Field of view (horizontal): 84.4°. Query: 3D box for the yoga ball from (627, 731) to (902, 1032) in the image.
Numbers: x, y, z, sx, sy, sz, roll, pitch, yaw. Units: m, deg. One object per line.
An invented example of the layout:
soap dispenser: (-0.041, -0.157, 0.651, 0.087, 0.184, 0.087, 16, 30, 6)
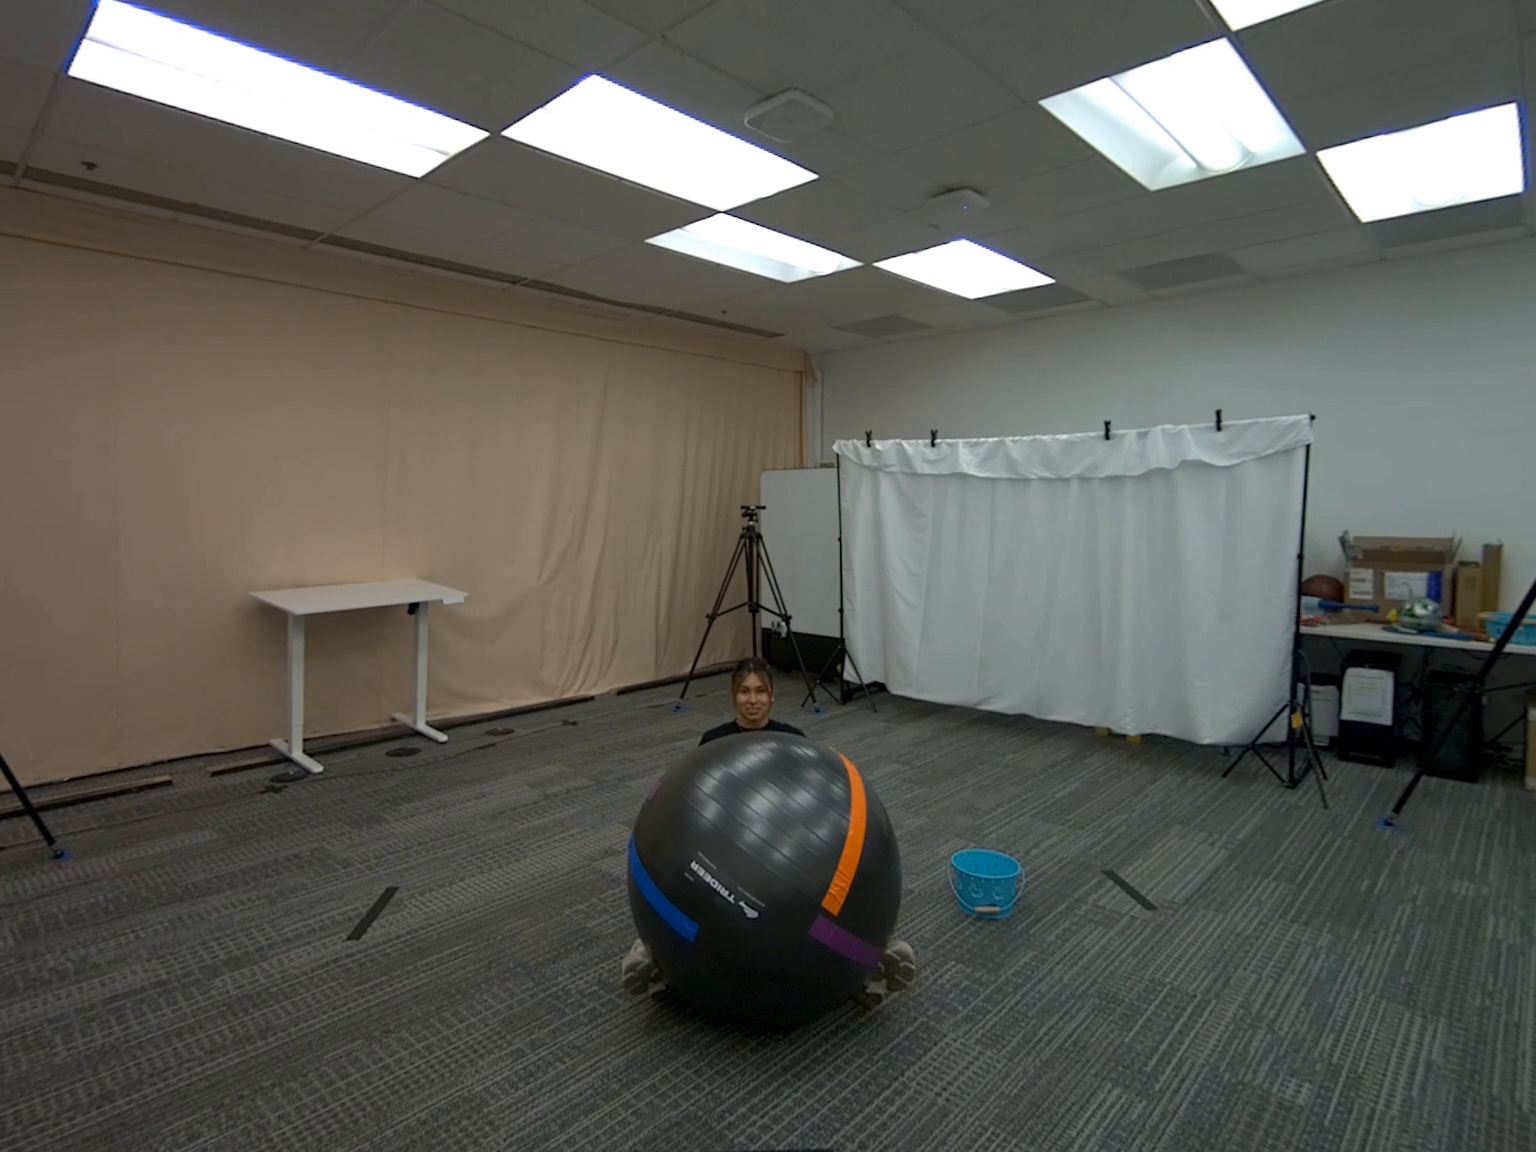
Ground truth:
yoga ball: (-0.007, 0.822, 2.324, 0.757, 0.756, 0.760, 0, 4, -2)
